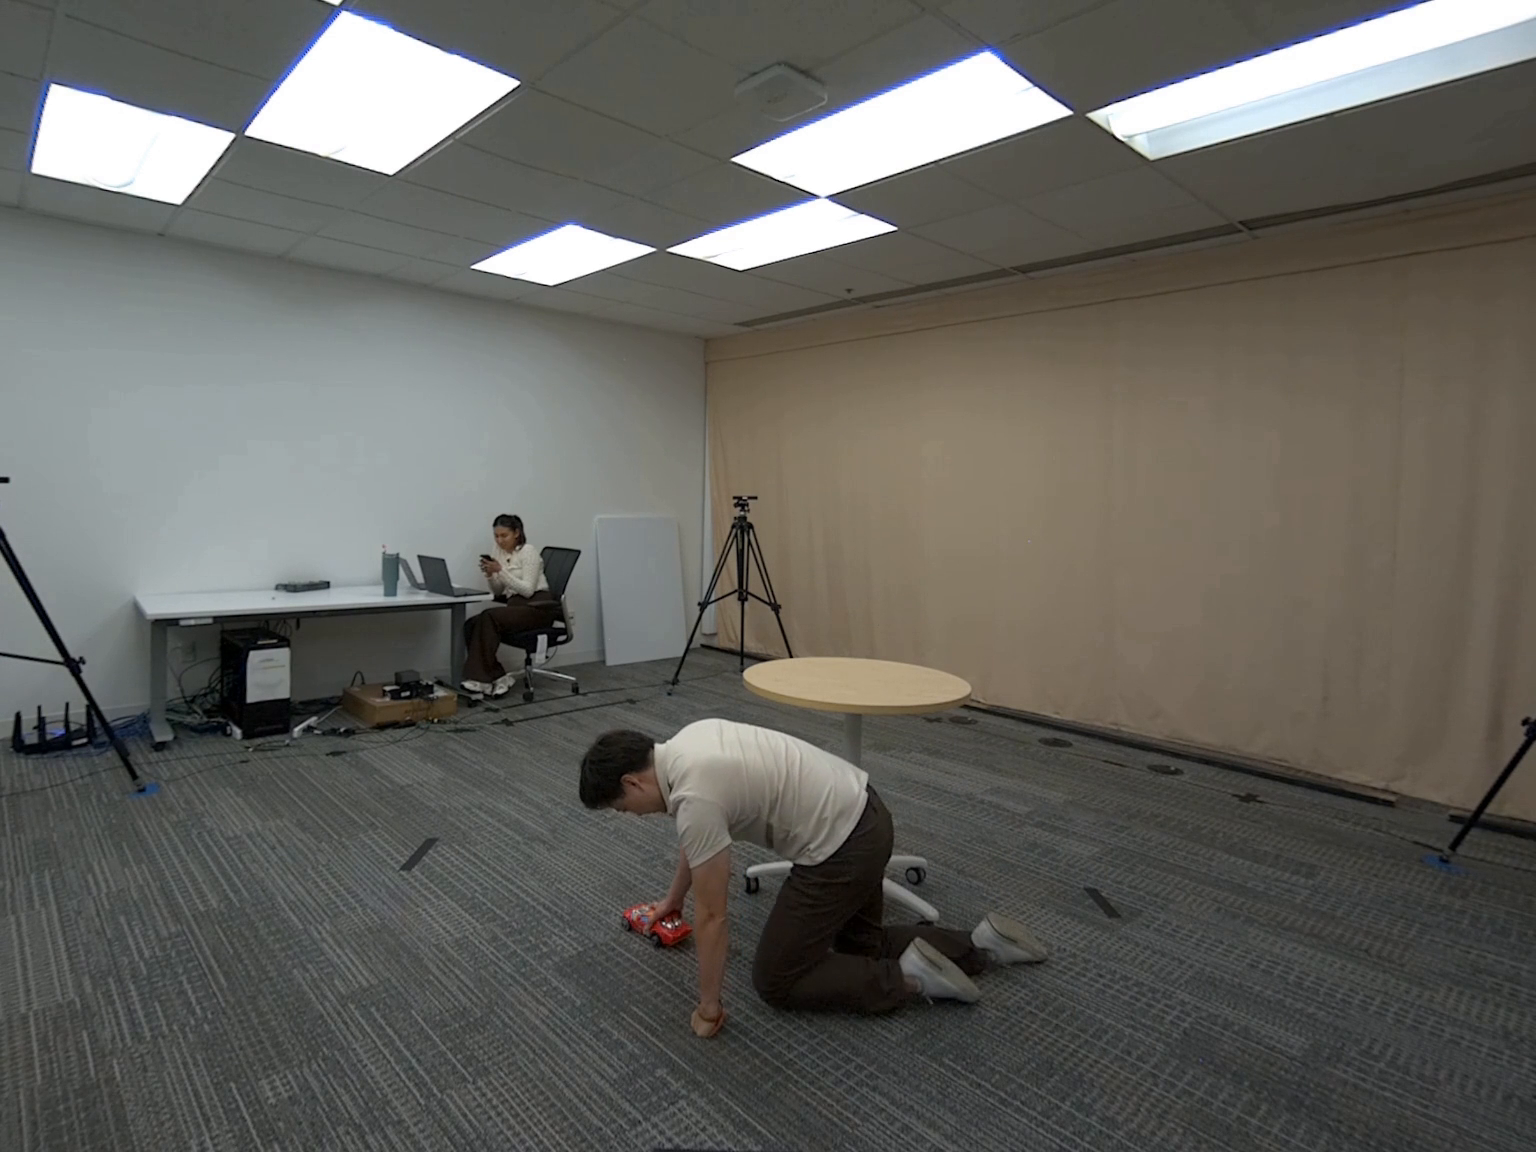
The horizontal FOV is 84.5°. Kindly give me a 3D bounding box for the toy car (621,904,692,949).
[{"bbox_3d":[-0.353,1.107,2.659,0.259,0.083,0.127,-9,-3,43],"label":"toy car"}]
